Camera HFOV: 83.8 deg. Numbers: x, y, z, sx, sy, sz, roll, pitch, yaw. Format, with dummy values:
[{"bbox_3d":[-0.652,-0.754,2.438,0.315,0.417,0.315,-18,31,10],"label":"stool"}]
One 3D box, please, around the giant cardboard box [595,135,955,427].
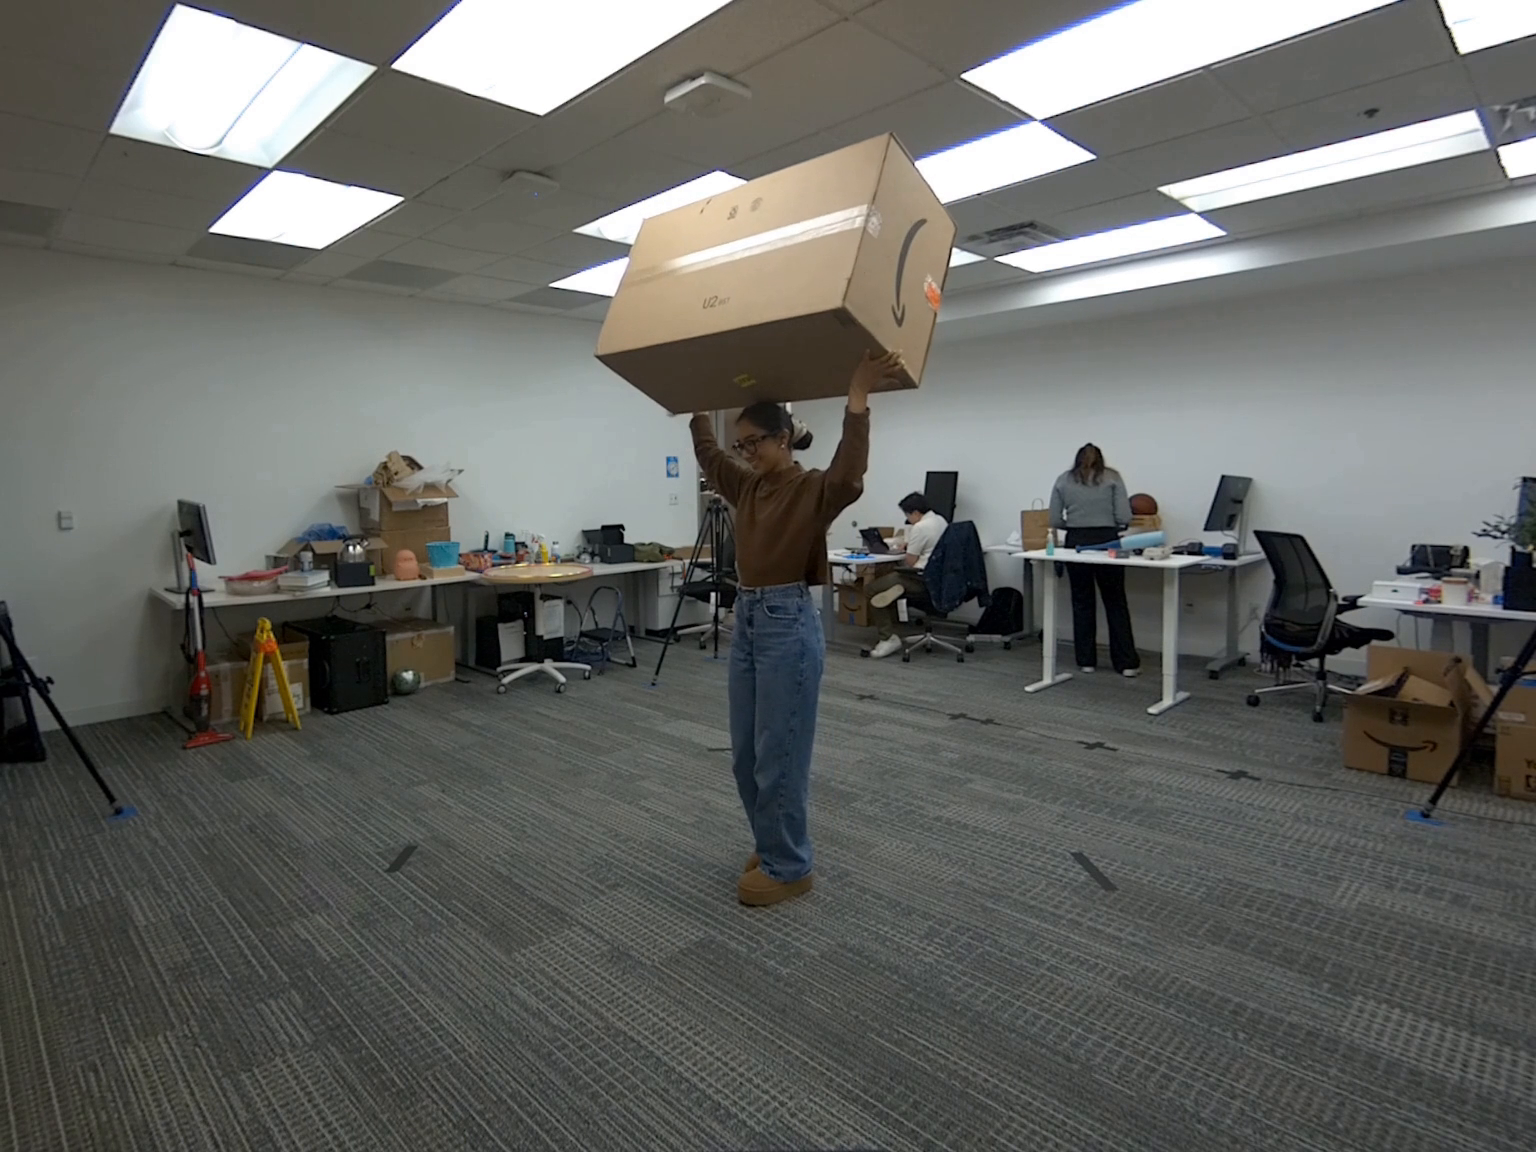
[{"bbox_3d":[0.000,-0.908,2.765,1.057,0.583,0.410,3,-20,41],"label":"giant cardboard box"}]
